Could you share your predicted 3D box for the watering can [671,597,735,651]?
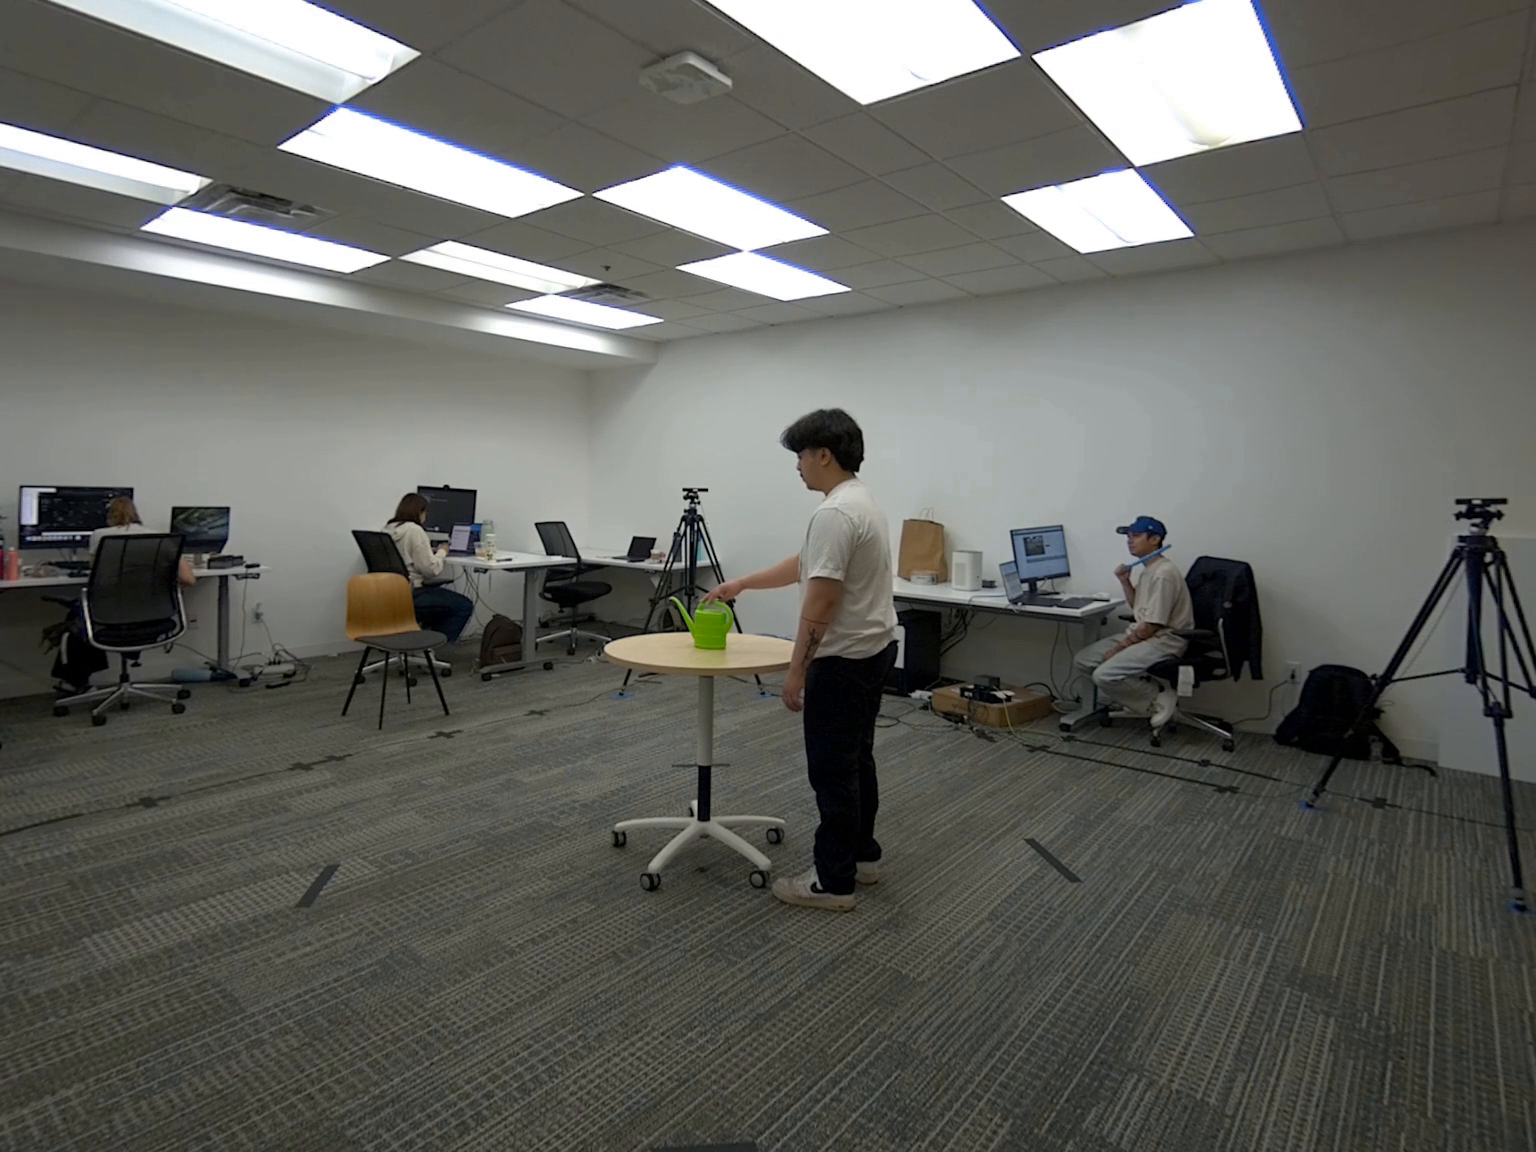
[{"bbox_3d":[-0.262,0.176,3.241,0.288,0.176,0.095,8,6,39],"label":"watering can"}]
